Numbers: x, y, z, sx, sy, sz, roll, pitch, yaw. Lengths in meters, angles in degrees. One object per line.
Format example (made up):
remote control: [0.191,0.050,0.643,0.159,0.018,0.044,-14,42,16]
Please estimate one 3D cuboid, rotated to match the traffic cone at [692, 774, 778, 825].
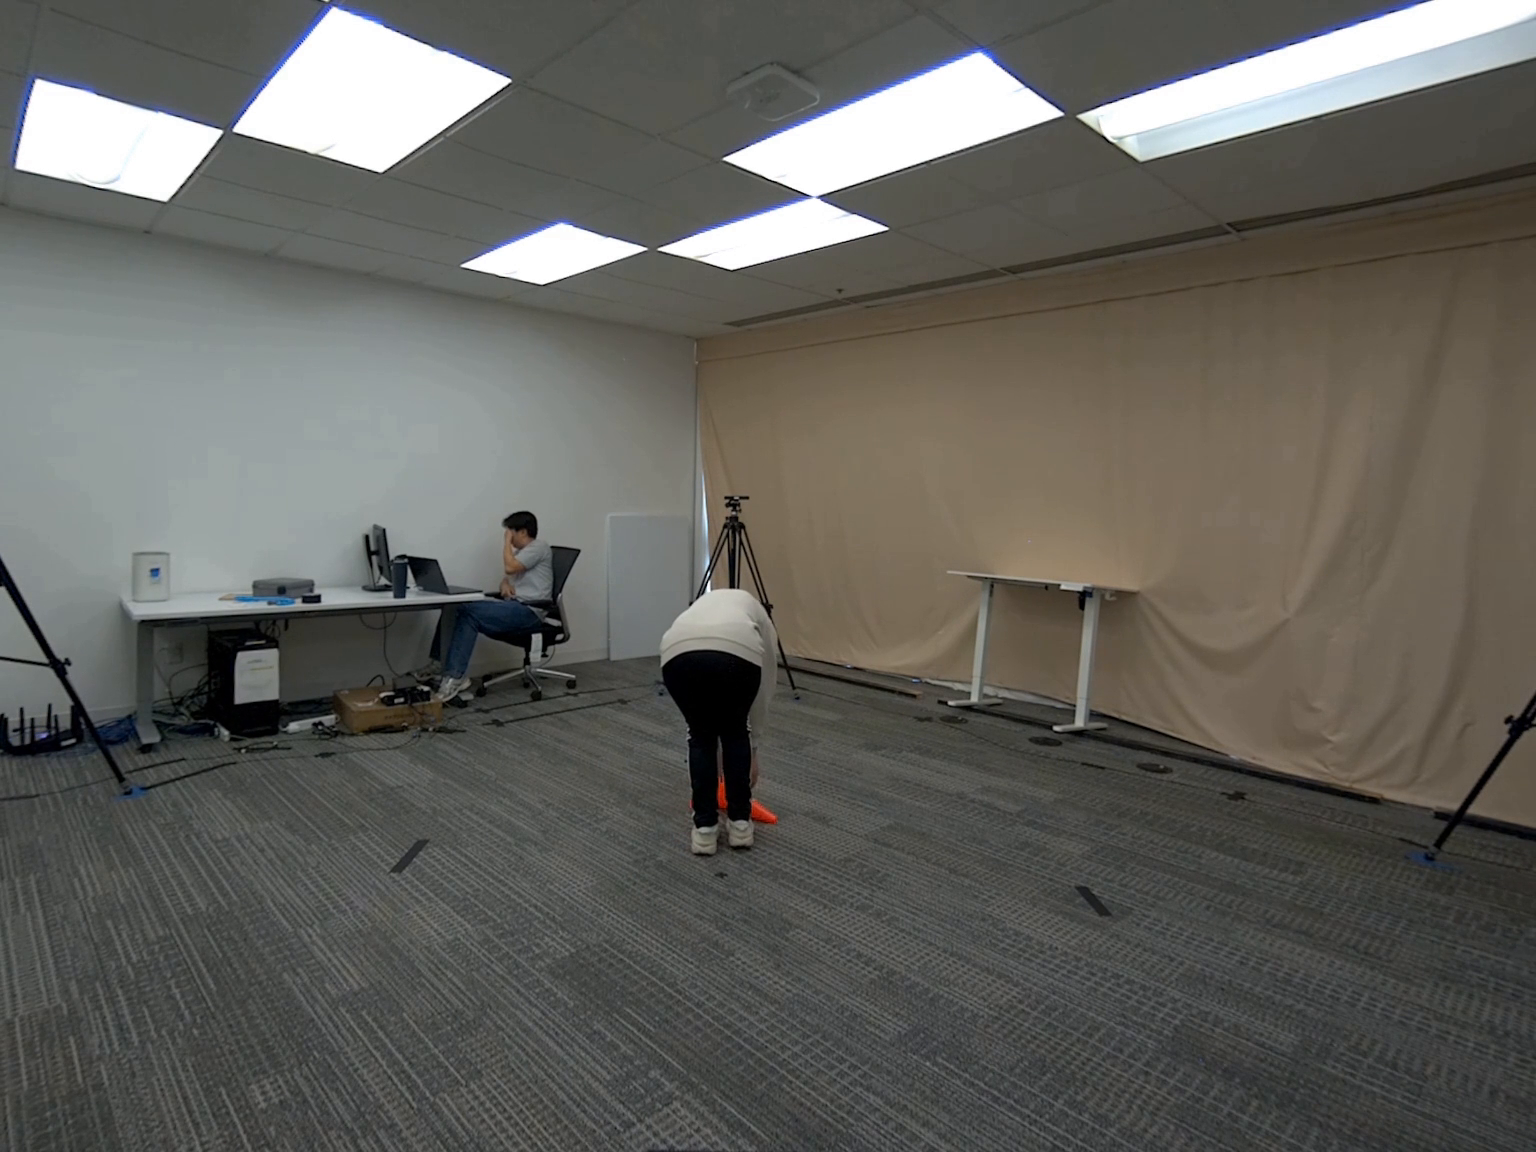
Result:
traffic cone: [-0.131,0.998,3.712,0.394,0.201,0.202,21,24,32]
